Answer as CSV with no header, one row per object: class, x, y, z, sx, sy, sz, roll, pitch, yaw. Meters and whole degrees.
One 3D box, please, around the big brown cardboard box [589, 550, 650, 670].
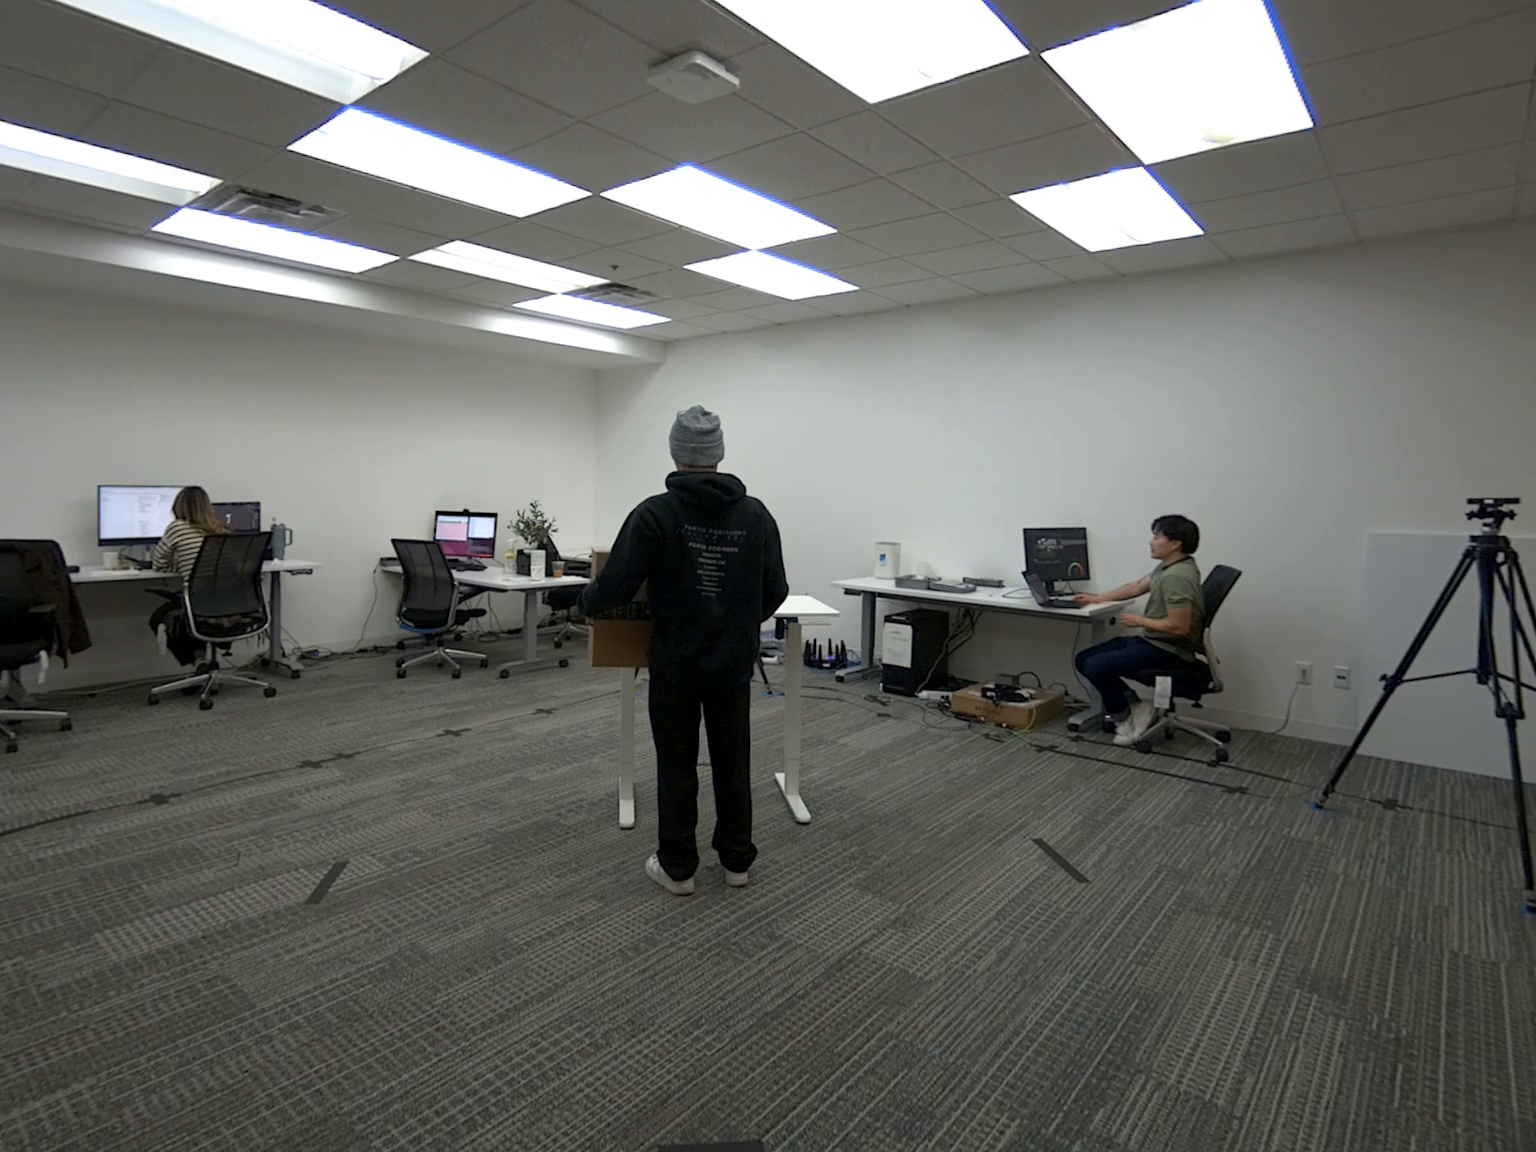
big brown cardboard box,-0.379,0.114,3.185,0.581,0.417,0.237,3,3,-13
